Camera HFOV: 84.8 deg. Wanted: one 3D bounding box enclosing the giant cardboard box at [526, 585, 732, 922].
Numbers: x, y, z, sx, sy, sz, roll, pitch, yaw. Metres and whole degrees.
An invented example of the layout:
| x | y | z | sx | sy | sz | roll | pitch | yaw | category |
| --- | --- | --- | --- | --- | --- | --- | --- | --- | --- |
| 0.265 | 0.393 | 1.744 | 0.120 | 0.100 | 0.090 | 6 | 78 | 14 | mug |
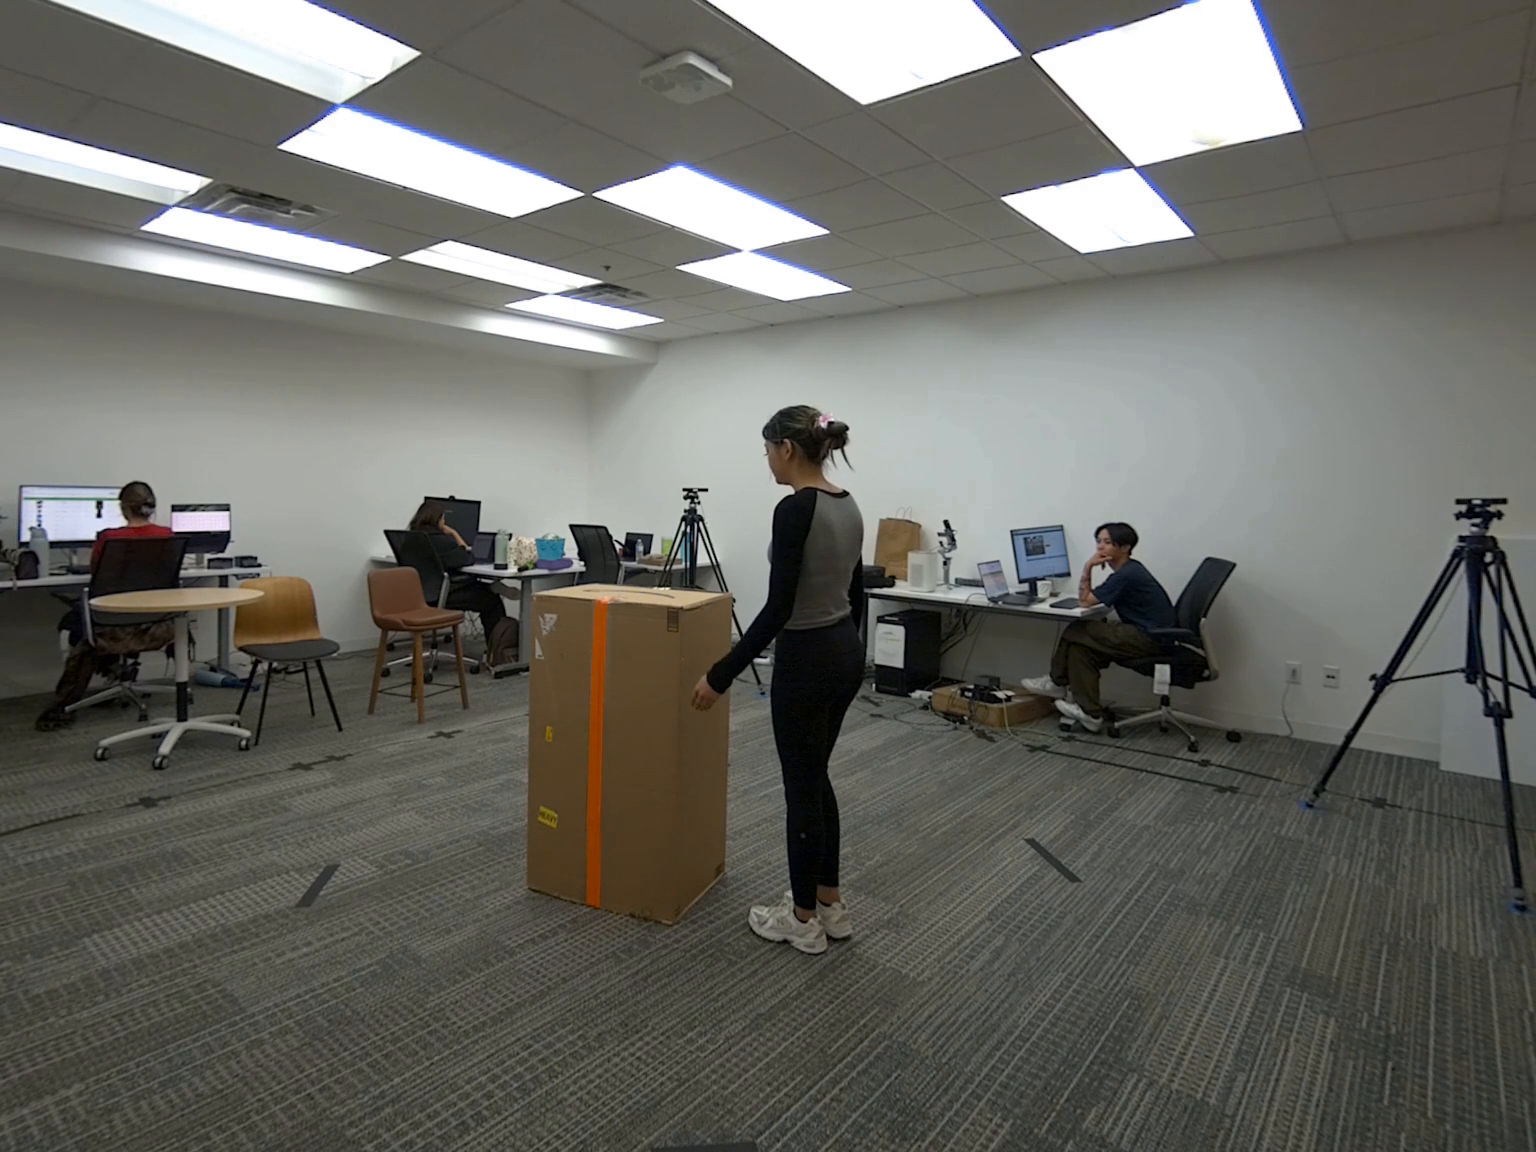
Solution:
| x | y | z | sx | sy | sz | roll | pitch | yaw | category |
| --- | --- | --- | --- | --- | --- | --- | --- | --- | --- |
| -0.492 | 0.572 | 2.977 | 0.598 | 1.025 | 0.437 | 3 | 2 | 22 | giant cardboard box |
